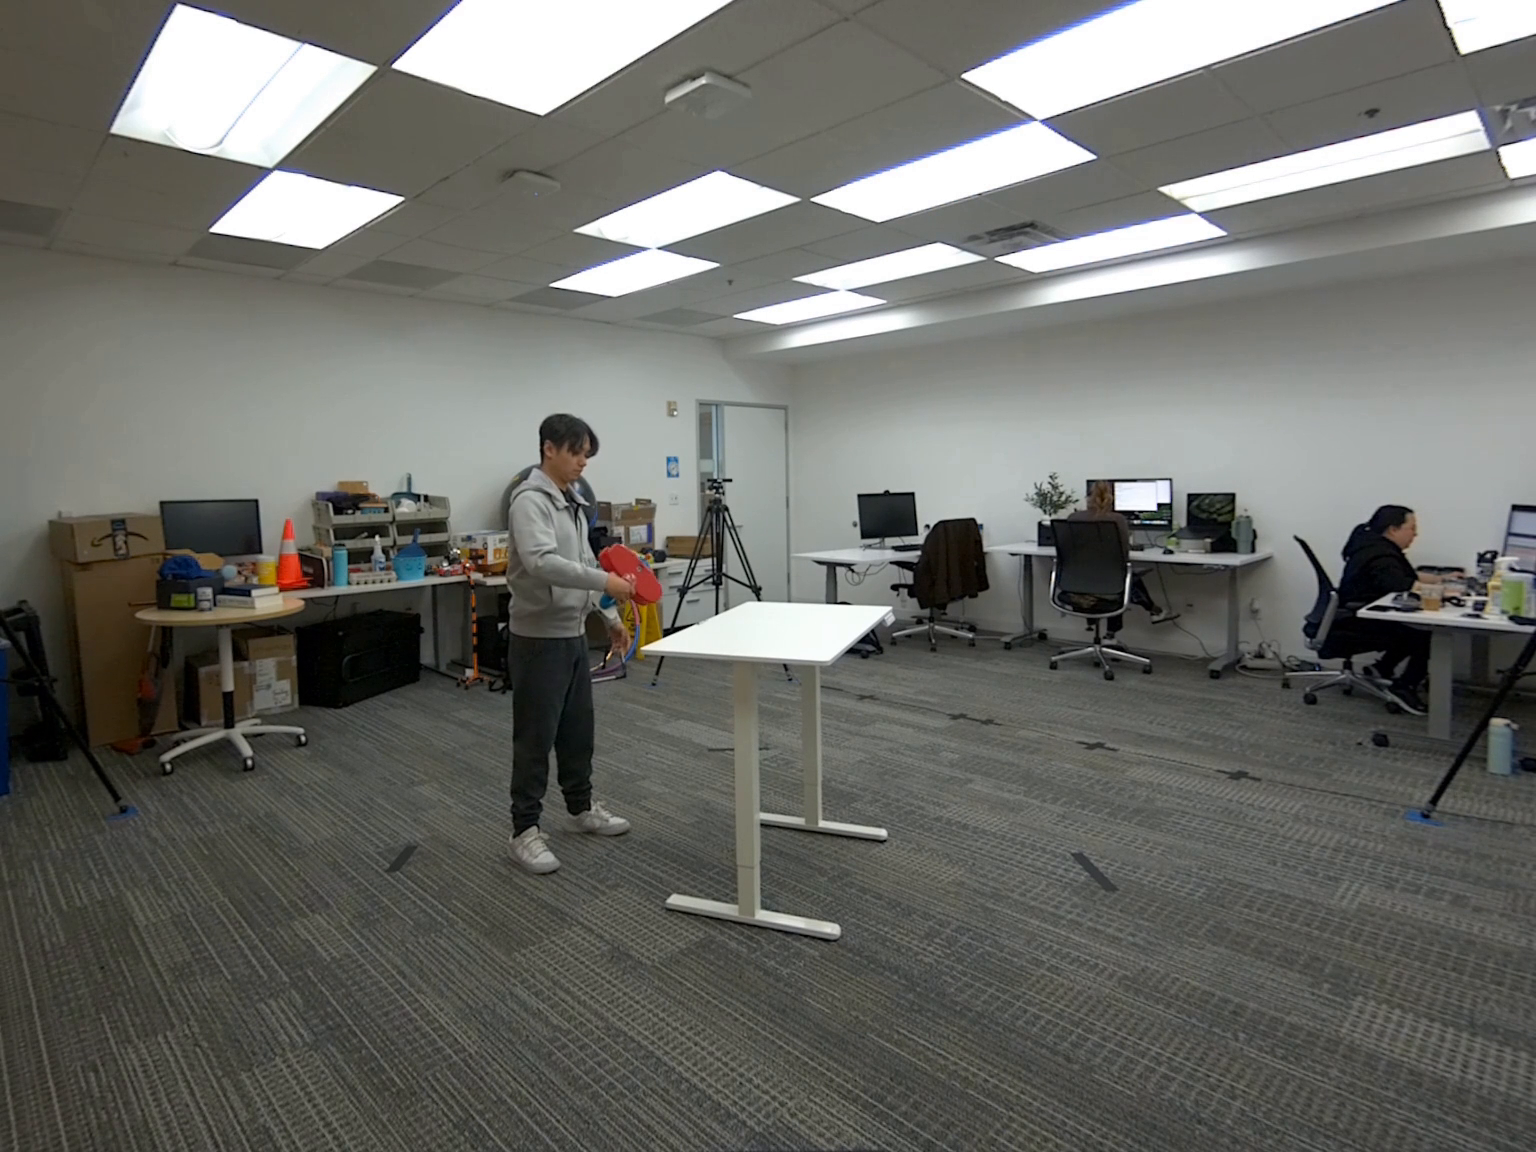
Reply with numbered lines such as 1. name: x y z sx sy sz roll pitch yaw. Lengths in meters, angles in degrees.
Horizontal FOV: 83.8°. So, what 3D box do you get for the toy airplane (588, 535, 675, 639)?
1. toy airplane: -0.501 0.040 3.048 0.243 0.264 0.158 27 -36 -31
